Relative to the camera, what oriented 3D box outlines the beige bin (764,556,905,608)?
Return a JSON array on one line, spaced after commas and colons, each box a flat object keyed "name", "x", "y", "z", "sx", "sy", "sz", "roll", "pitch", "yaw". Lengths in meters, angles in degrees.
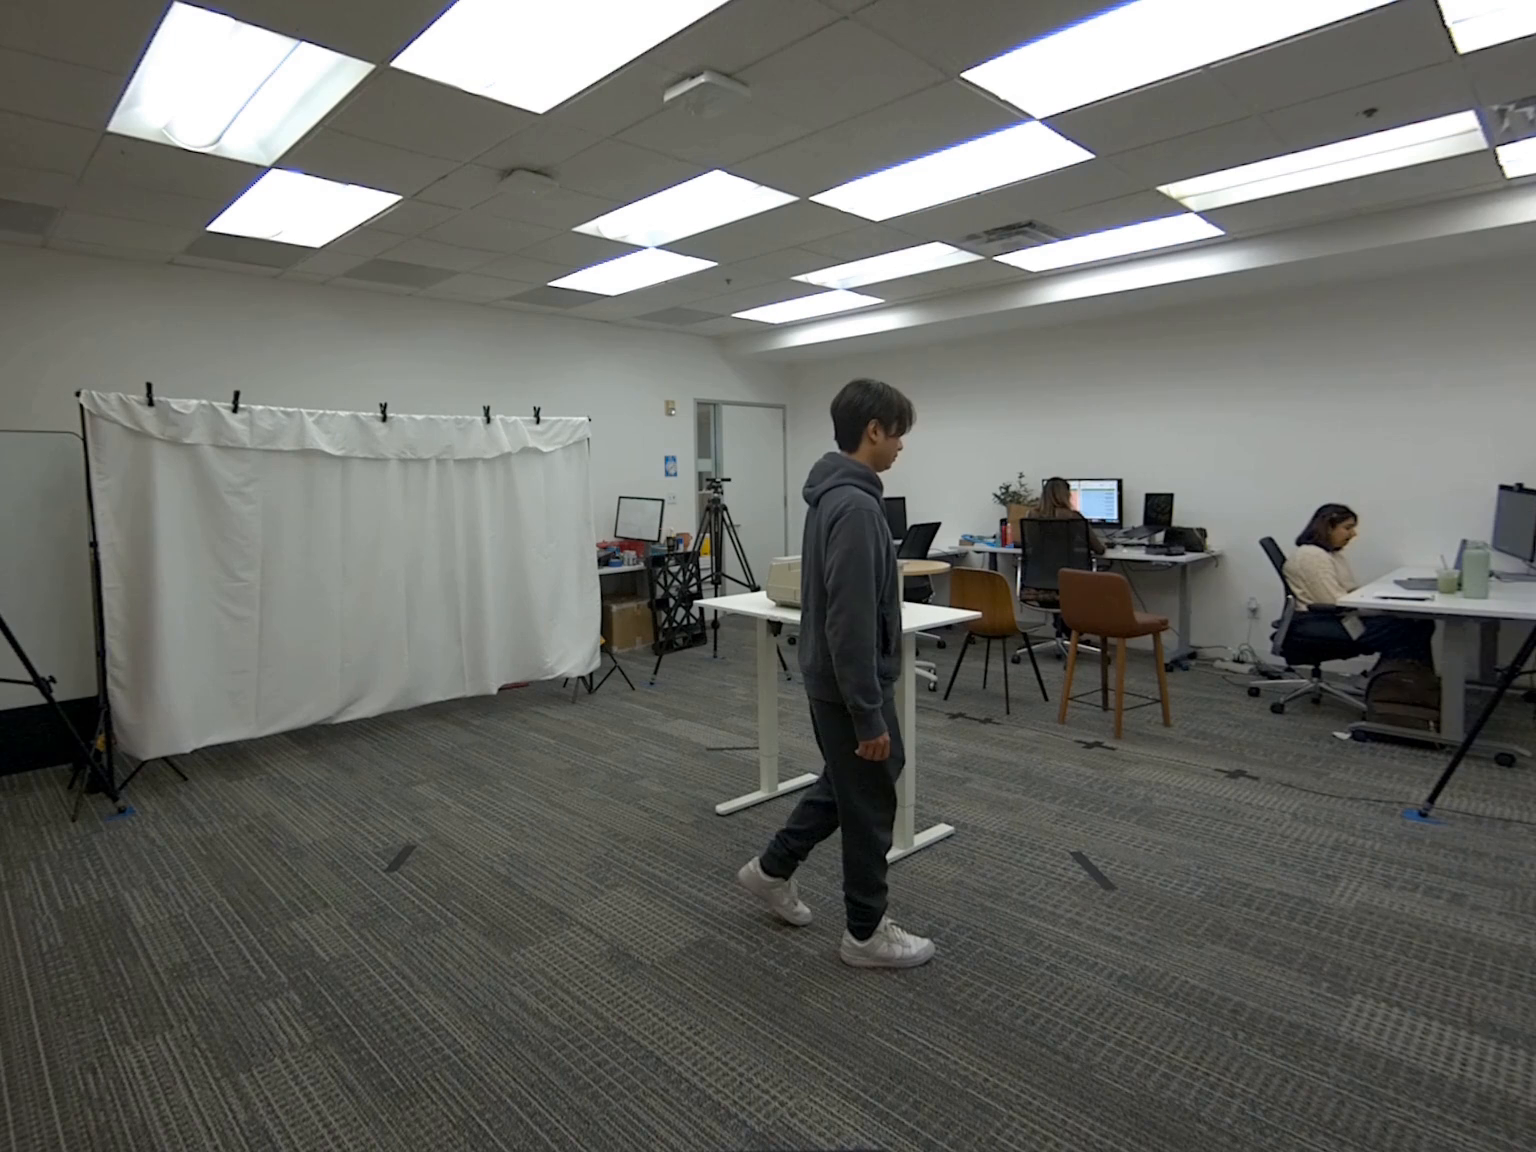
[{"name": "beige bin", "x": 0.273, "y": 0.035, "z": 3.369, "sx": 0.367, "sy": 0.188, "sz": 0.435, "roll": -6, "pitch": 8, "yaw": -43}]
